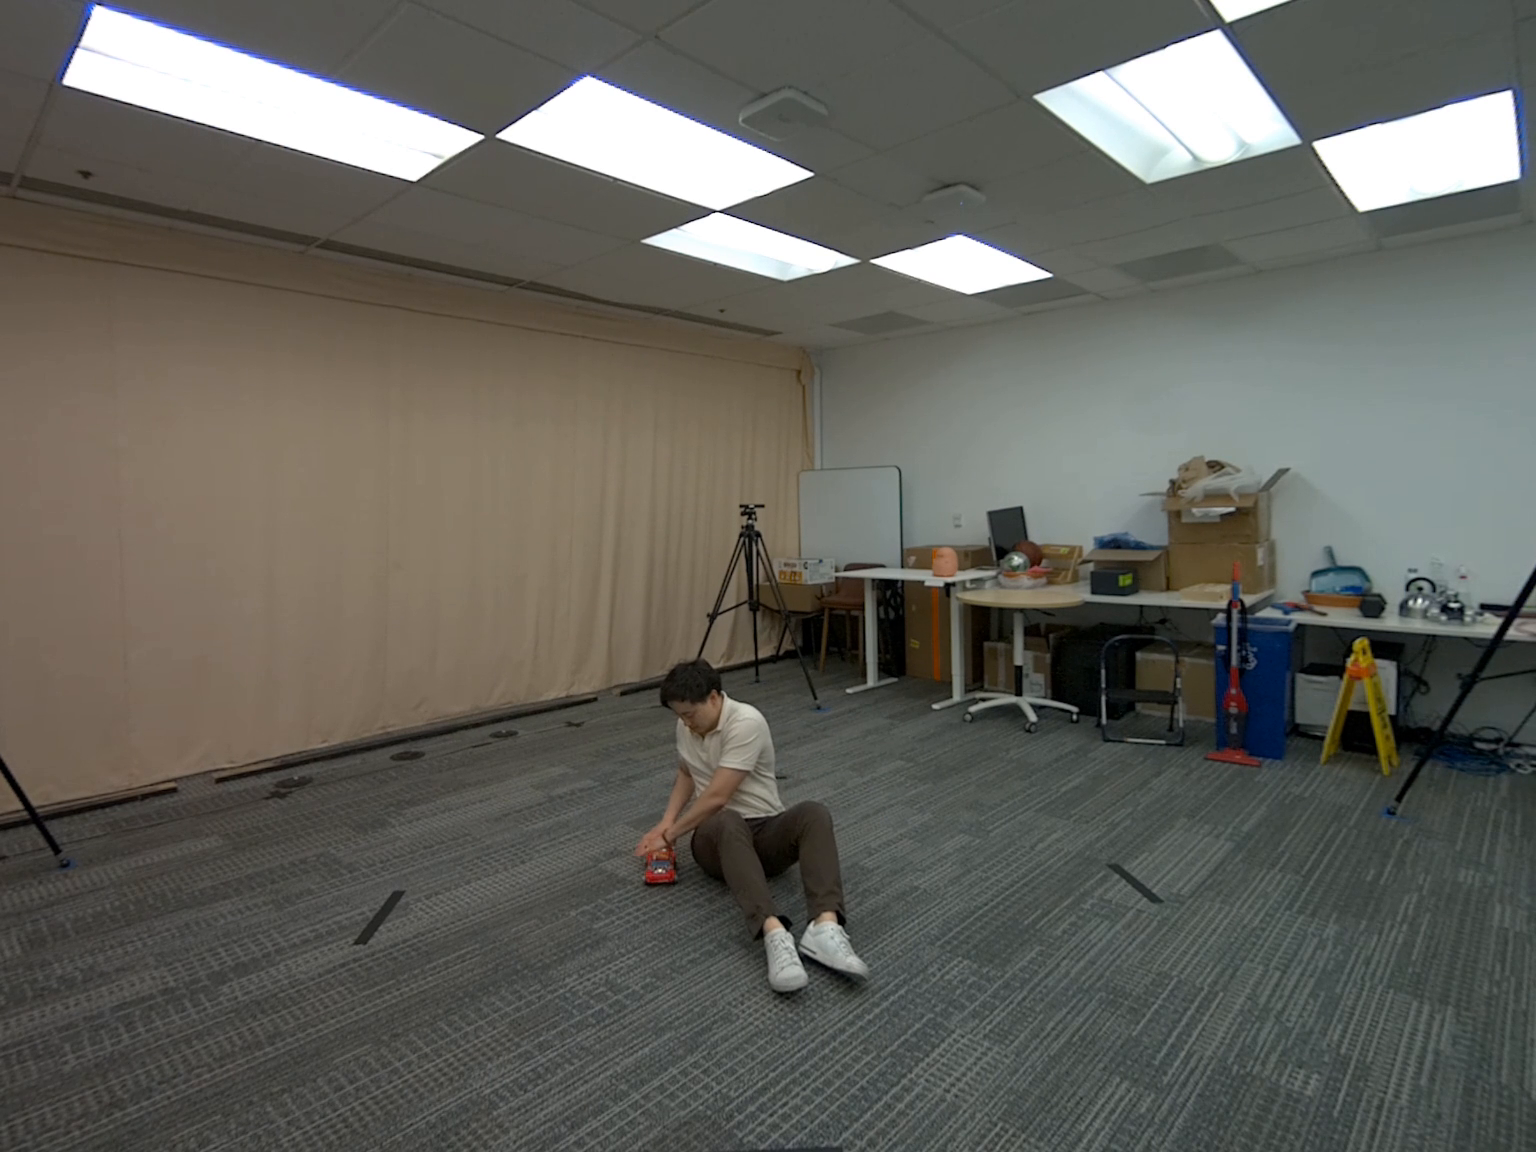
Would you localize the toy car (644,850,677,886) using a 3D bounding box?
[{"bbox_3d":[-0.404,1.104,3.205,0.130,0.082,0.258,-2,16,-6],"label":"toy car"}]
